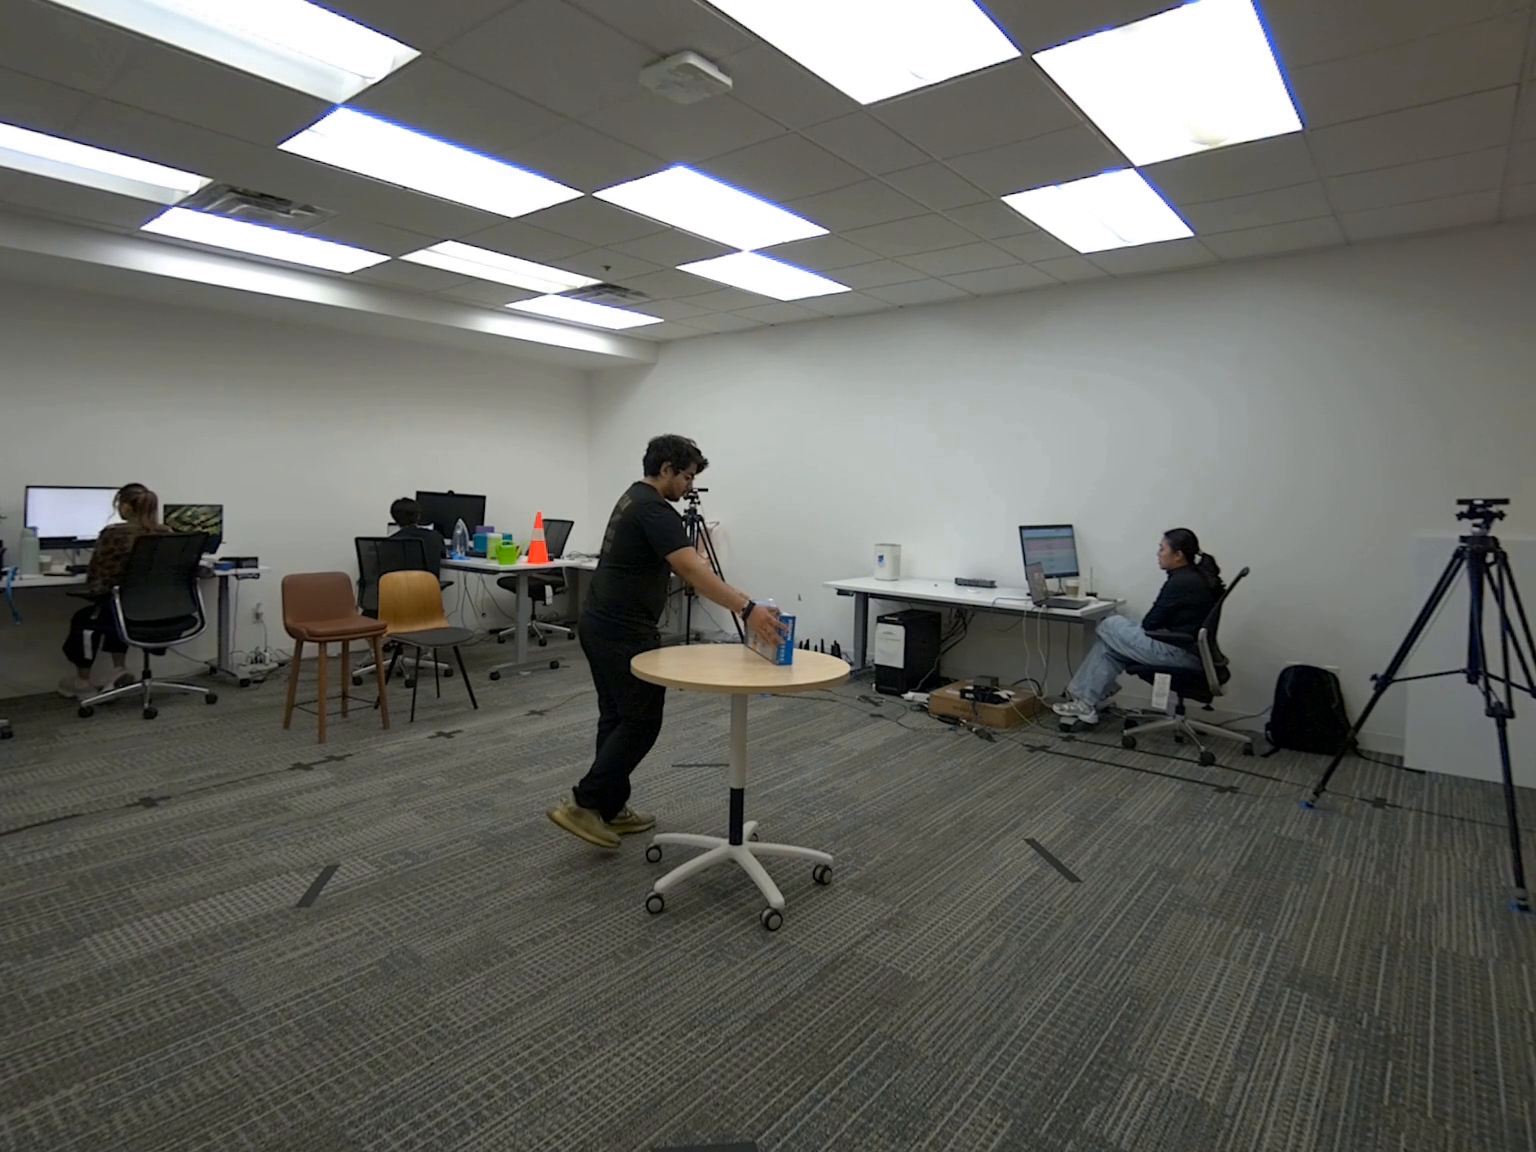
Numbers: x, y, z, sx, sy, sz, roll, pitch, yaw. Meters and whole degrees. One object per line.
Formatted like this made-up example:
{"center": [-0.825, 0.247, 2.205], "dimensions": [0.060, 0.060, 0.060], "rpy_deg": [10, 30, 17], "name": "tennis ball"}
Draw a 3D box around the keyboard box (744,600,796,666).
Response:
{"center": [-0.015, 0.201, 3.153], "dimensions": [0.058, 0.175, 0.446], "rpy_deg": [5, 4, -17], "name": "keyboard box"}
